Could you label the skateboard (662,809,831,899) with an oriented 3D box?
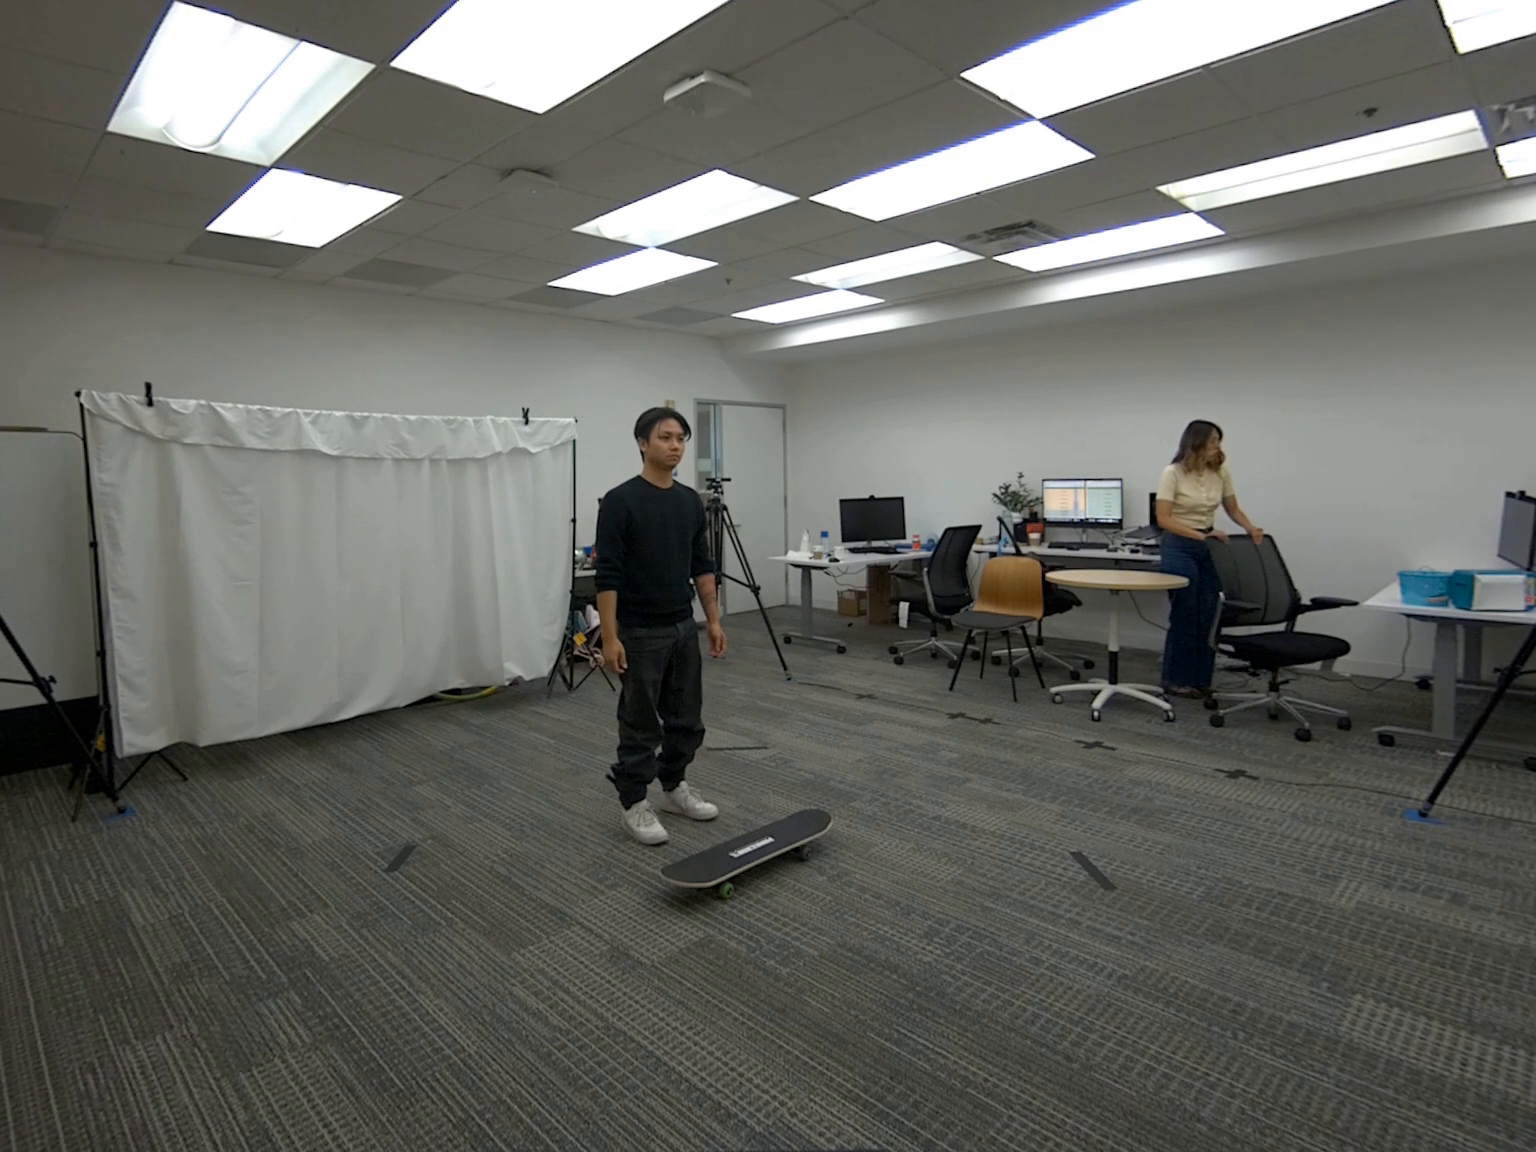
[{"bbox_3d":[-0.056,0.990,3.042,0.199,0.110,0.765,5,9,44],"label":"skateboard"}]
